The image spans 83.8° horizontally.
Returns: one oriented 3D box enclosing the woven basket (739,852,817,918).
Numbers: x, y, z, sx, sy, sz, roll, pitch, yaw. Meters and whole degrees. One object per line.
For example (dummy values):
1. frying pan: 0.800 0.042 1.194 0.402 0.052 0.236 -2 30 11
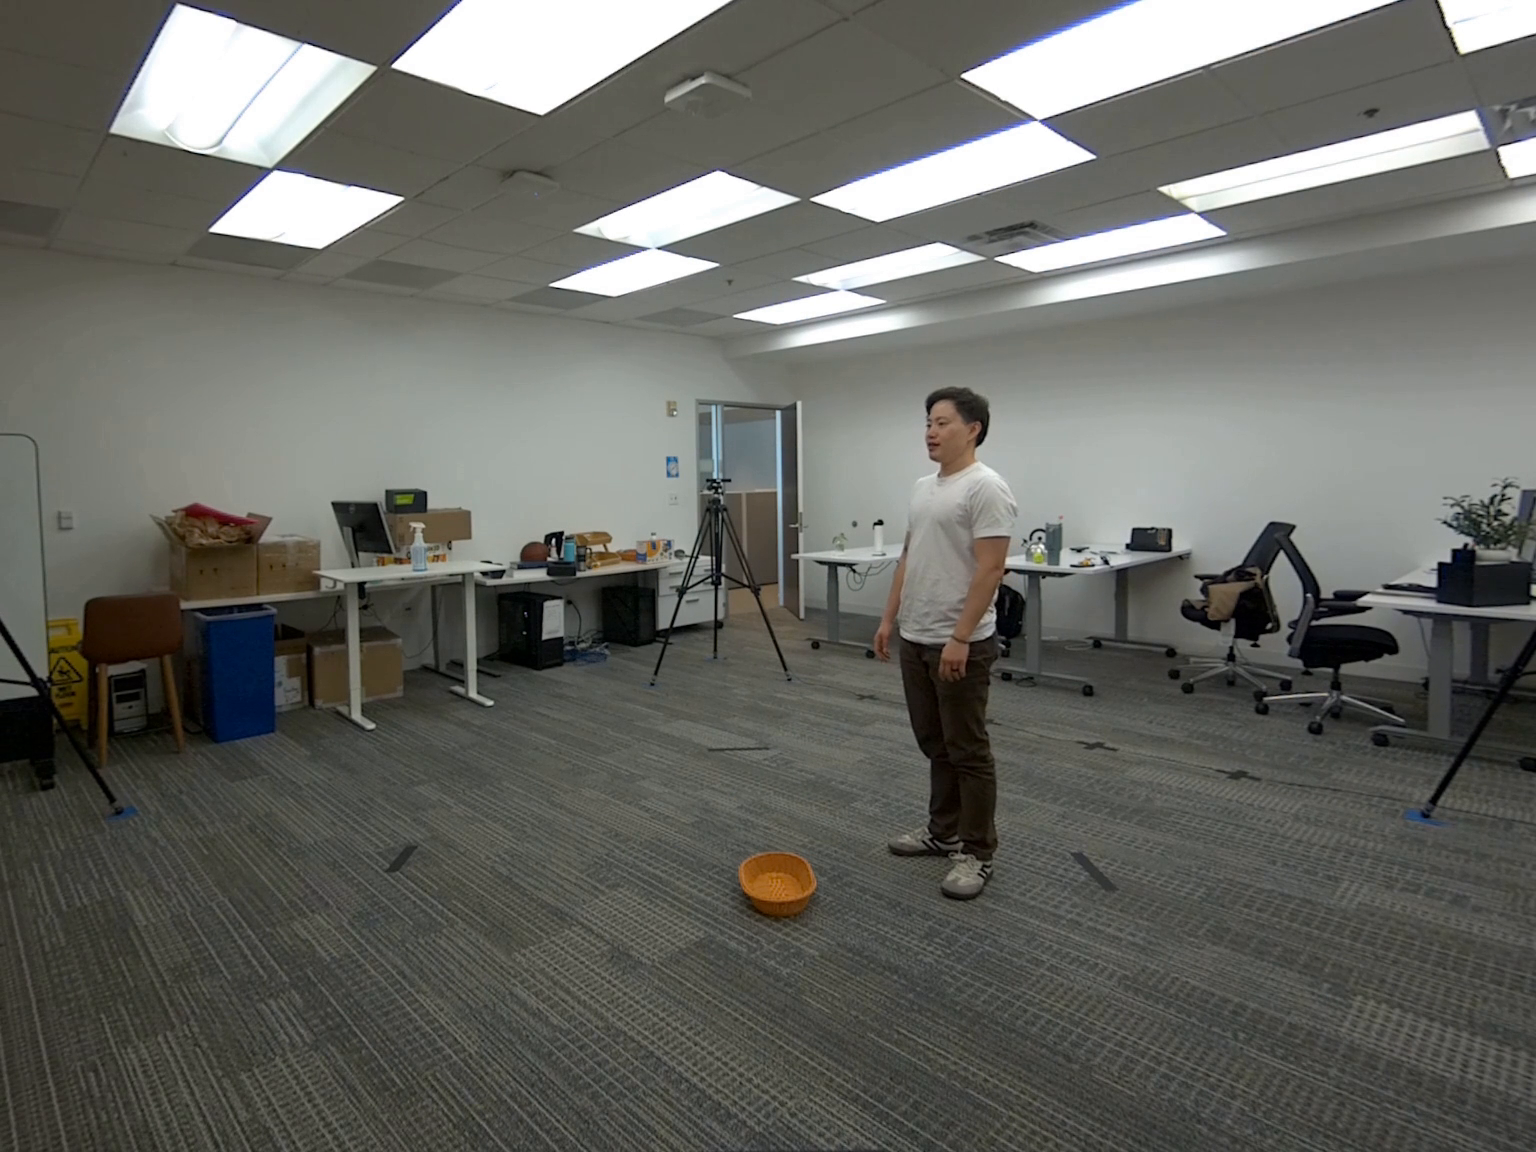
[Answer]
1. woven basket: 0.032 1.034 2.863 0.252 0.073 0.353 -2 6 -4
